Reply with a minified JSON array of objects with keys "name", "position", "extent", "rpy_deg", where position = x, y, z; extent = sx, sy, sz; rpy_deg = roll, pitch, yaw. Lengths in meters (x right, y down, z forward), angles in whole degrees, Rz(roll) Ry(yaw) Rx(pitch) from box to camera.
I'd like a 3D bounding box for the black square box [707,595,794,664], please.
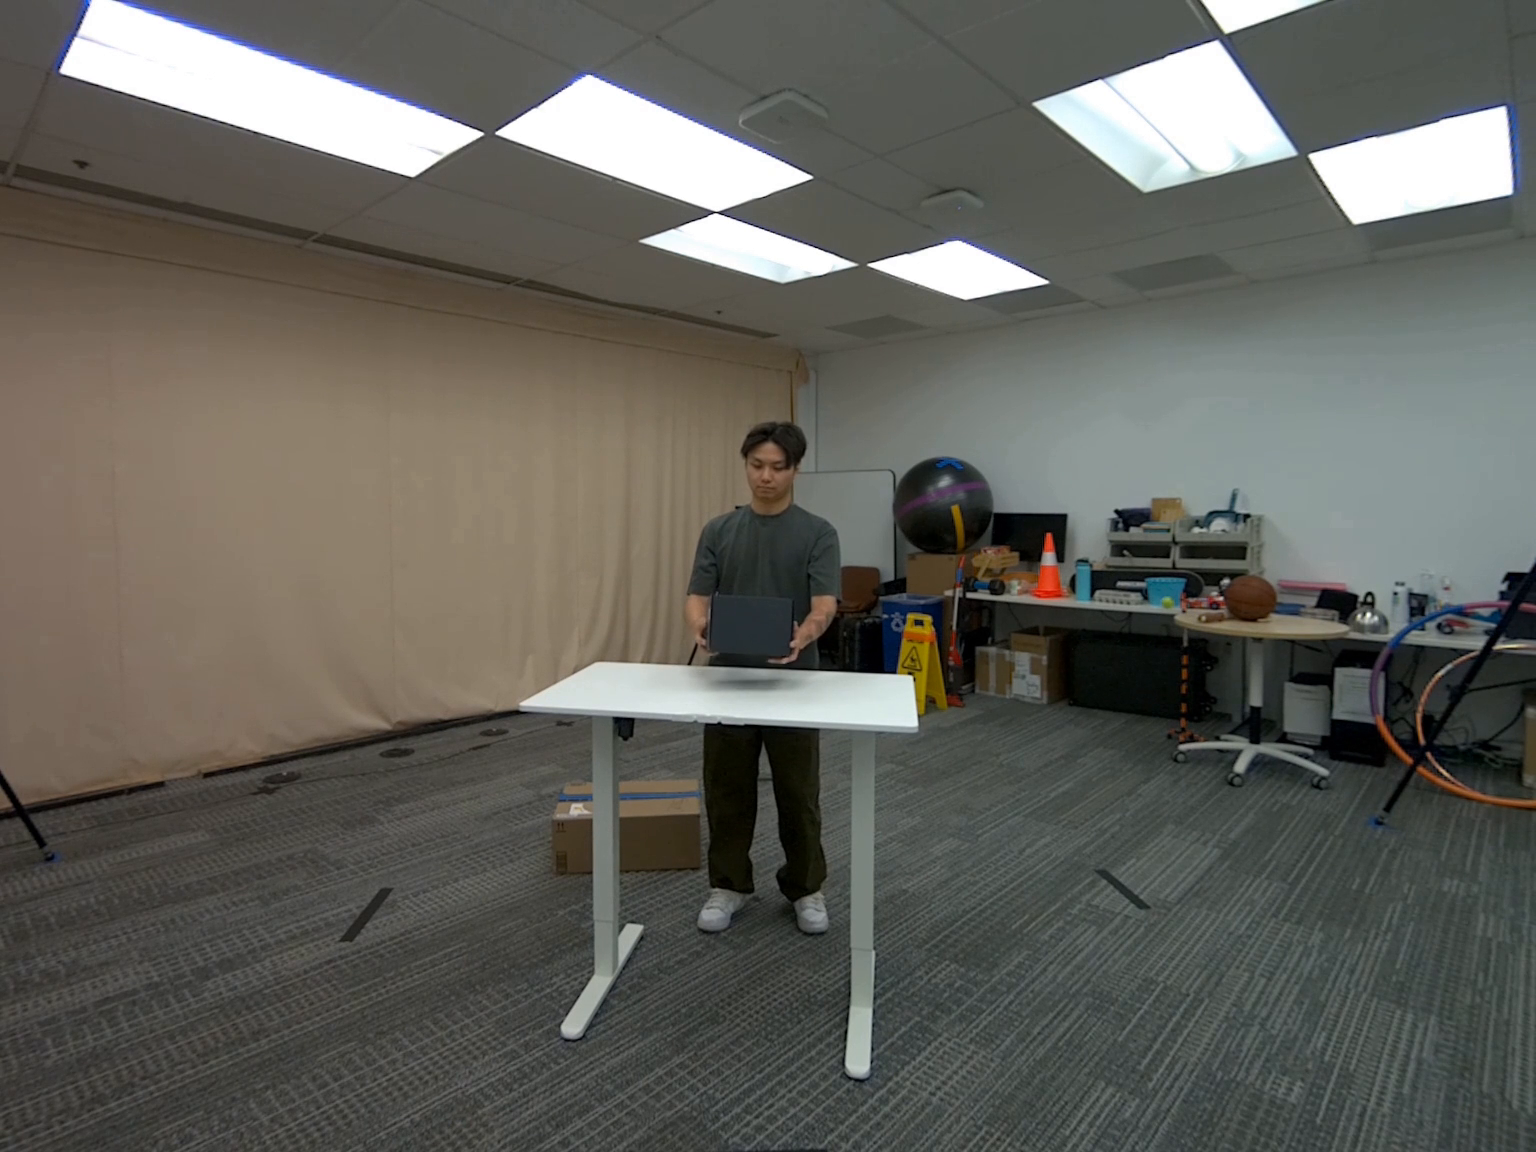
[{"name":"black square box","position":[-0.062,0.137,2.400],"extent":[0.227,0.156,0.217],"rpy_deg":[2,-2,-3]}]
